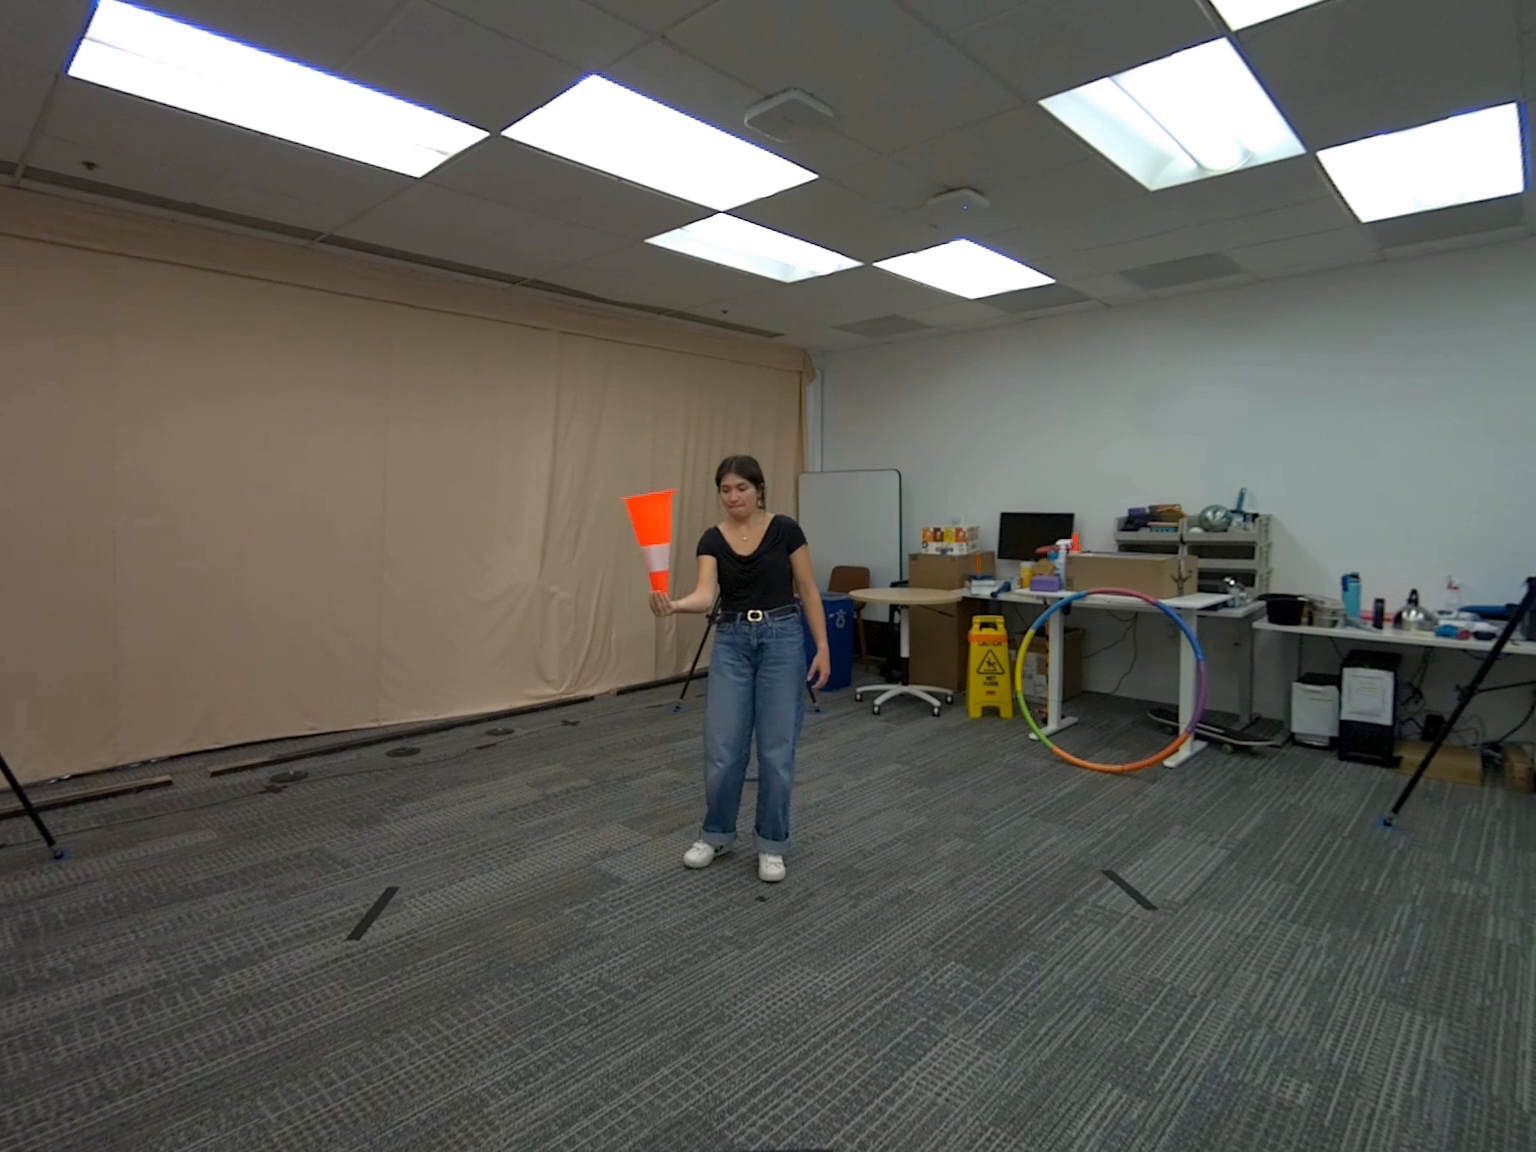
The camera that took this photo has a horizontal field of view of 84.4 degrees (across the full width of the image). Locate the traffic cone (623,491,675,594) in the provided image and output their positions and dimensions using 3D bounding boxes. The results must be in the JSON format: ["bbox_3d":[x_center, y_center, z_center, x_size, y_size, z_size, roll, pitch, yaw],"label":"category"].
[{"bbox_3d":[-0.370,-0.086,2.824,0.201,0.383,0.207,-11,3,-12],"label":"traffic cone"}]
